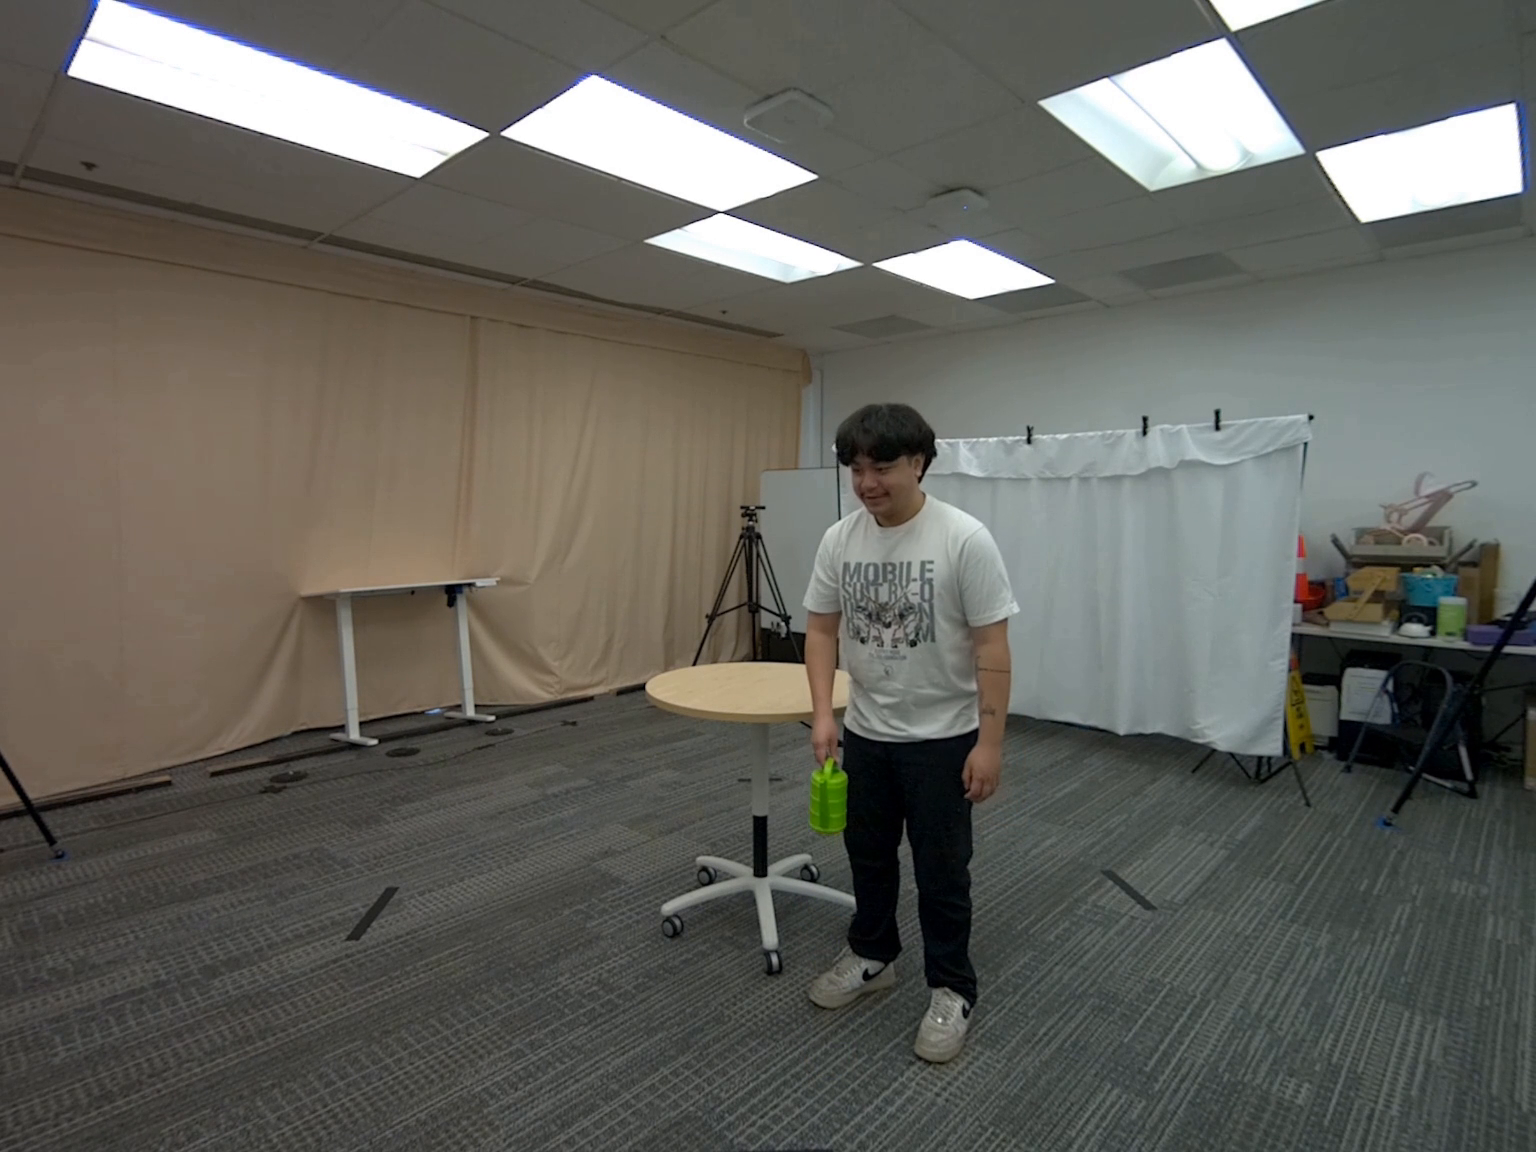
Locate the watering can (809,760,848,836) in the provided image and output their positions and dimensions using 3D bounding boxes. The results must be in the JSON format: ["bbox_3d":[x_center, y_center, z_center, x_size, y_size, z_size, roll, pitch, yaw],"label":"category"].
[{"bbox_3d":[0.140,0.555,2.122,0.100,0.177,0.271,-2,-1,27],"label":"watering can"}]
